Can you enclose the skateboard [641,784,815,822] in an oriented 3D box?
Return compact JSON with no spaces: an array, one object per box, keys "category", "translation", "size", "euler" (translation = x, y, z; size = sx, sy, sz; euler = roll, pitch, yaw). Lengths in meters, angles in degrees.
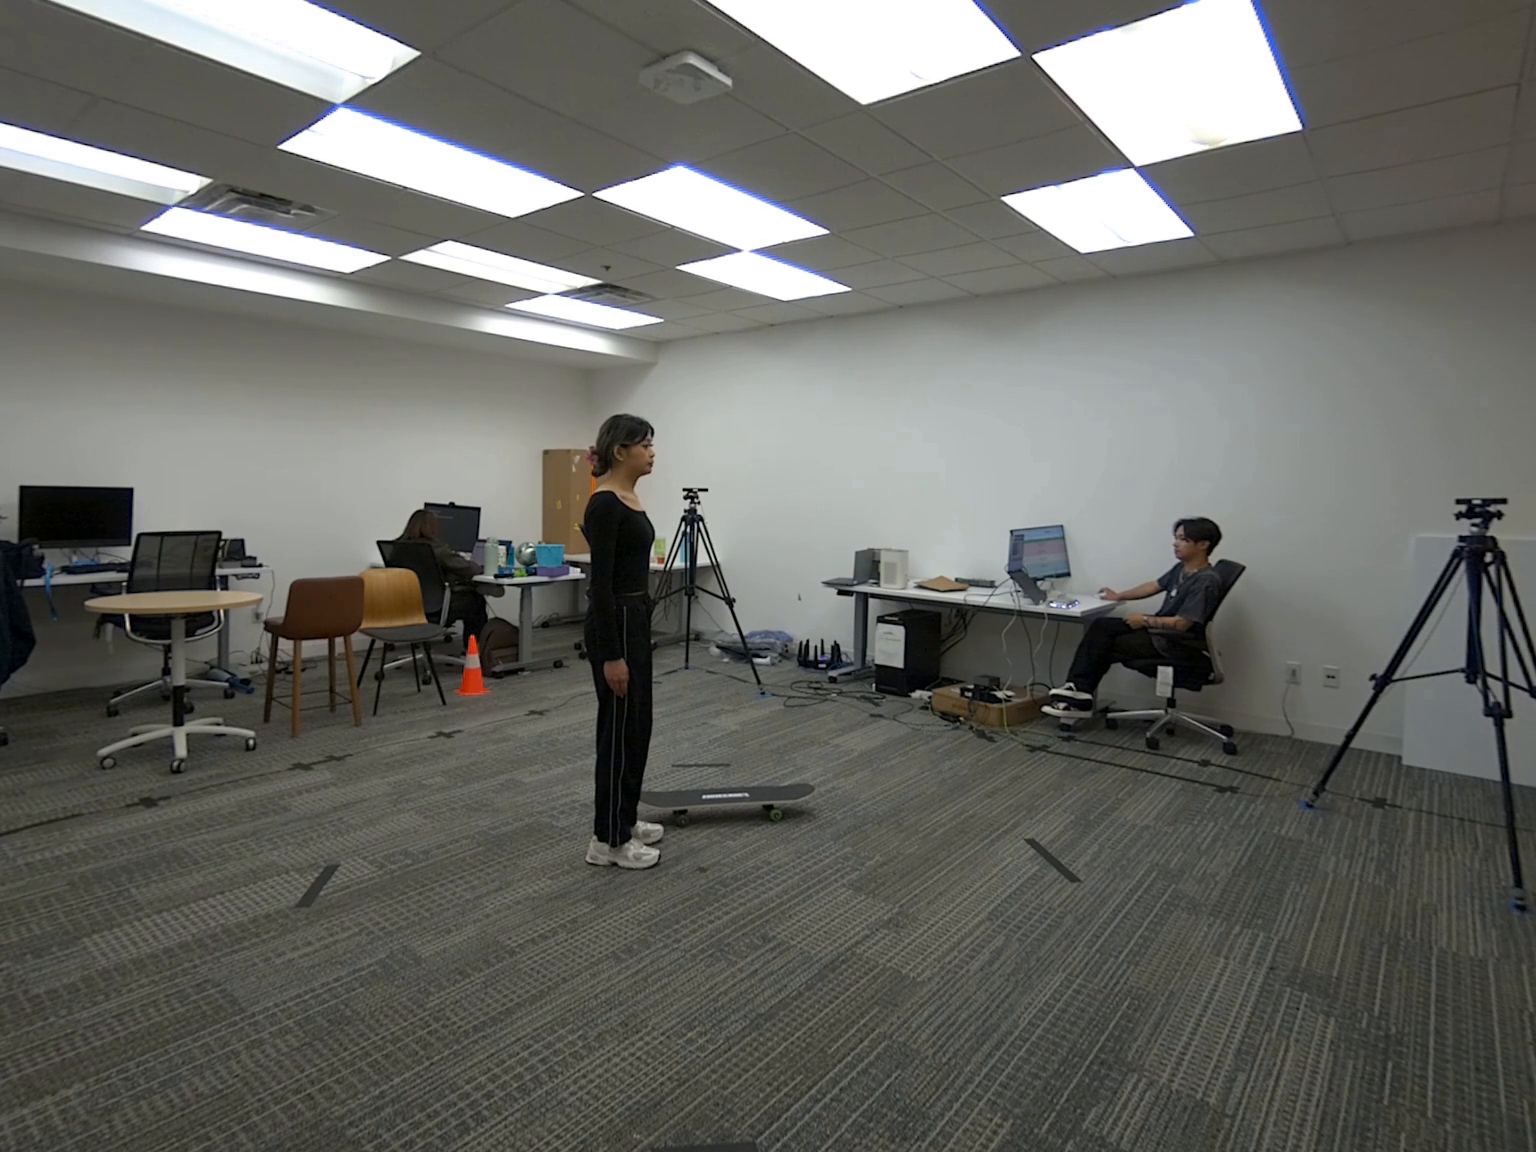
[{"category":"skateboard","translation":[-0.192,0.966,3.621],"size":[0.776,0.110,0.196],"euler":[0,5,-11]}]
